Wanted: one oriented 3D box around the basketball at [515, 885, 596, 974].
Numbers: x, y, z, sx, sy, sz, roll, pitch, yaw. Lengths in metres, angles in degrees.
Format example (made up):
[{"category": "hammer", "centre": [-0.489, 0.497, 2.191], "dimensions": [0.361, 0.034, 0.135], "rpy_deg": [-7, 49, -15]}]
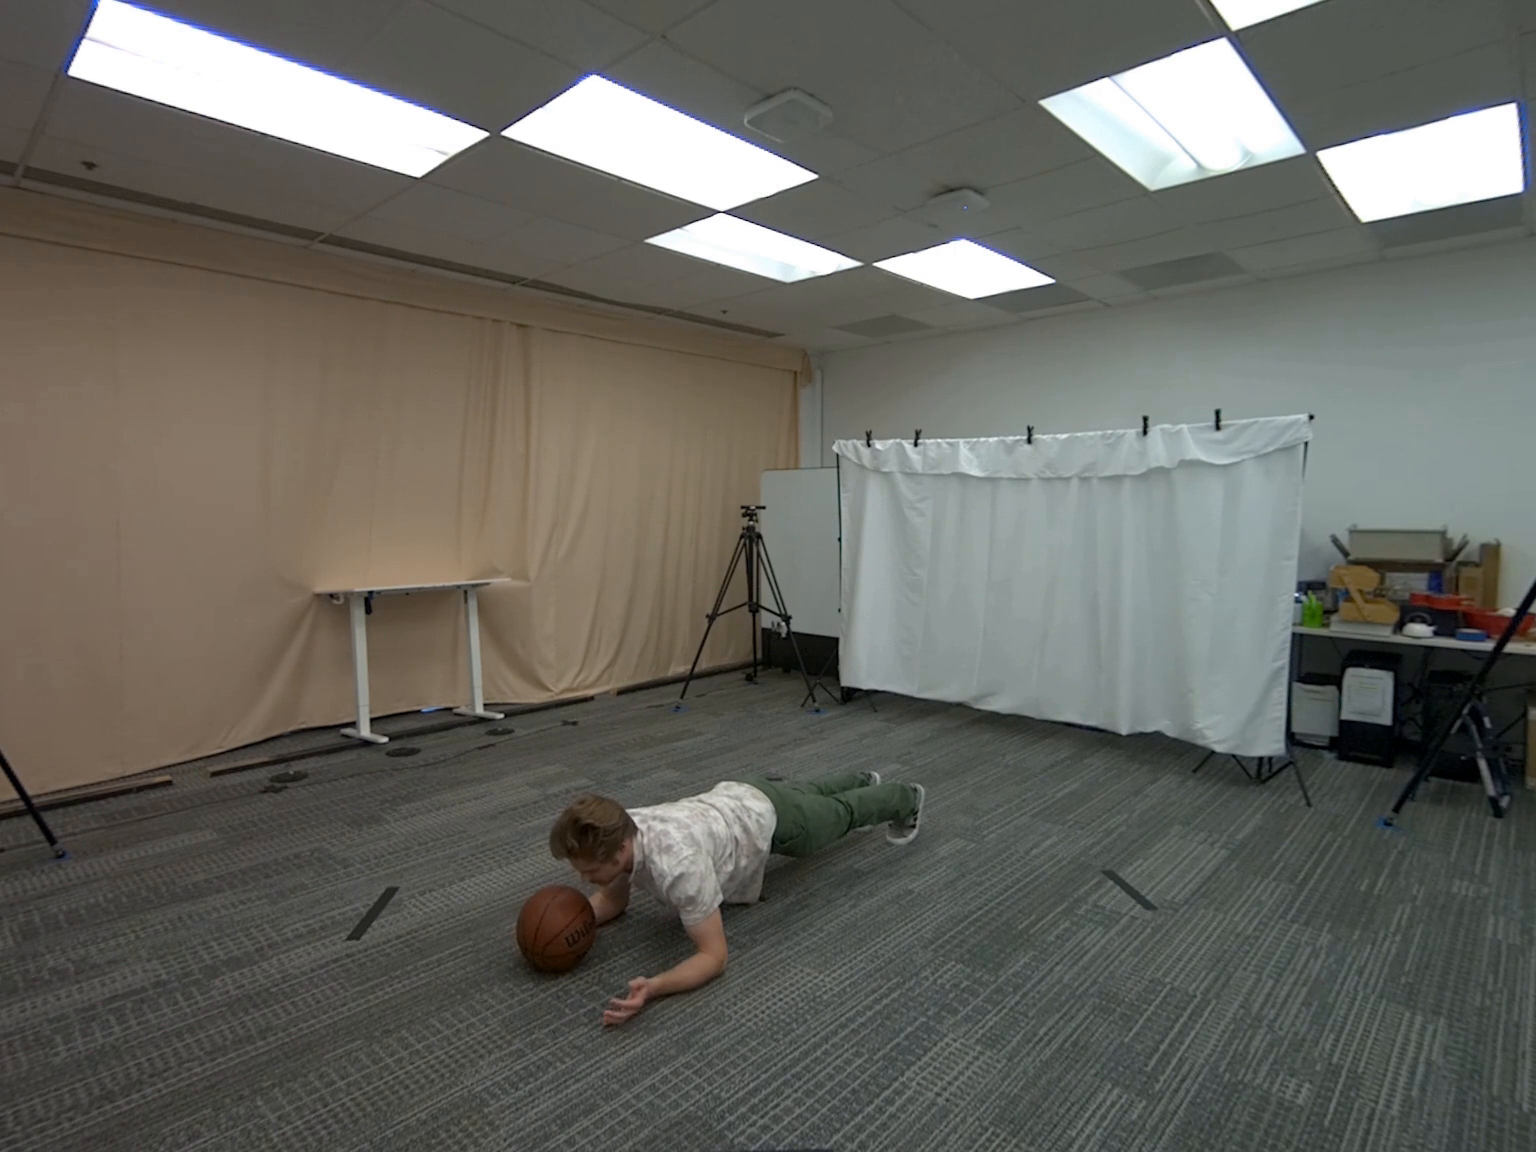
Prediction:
[{"category": "basketball", "centre": [-0.634, 1.069, 2.554], "dimensions": [0.236, 0.235, 0.237], "rpy_deg": [0, 4, -2]}]
